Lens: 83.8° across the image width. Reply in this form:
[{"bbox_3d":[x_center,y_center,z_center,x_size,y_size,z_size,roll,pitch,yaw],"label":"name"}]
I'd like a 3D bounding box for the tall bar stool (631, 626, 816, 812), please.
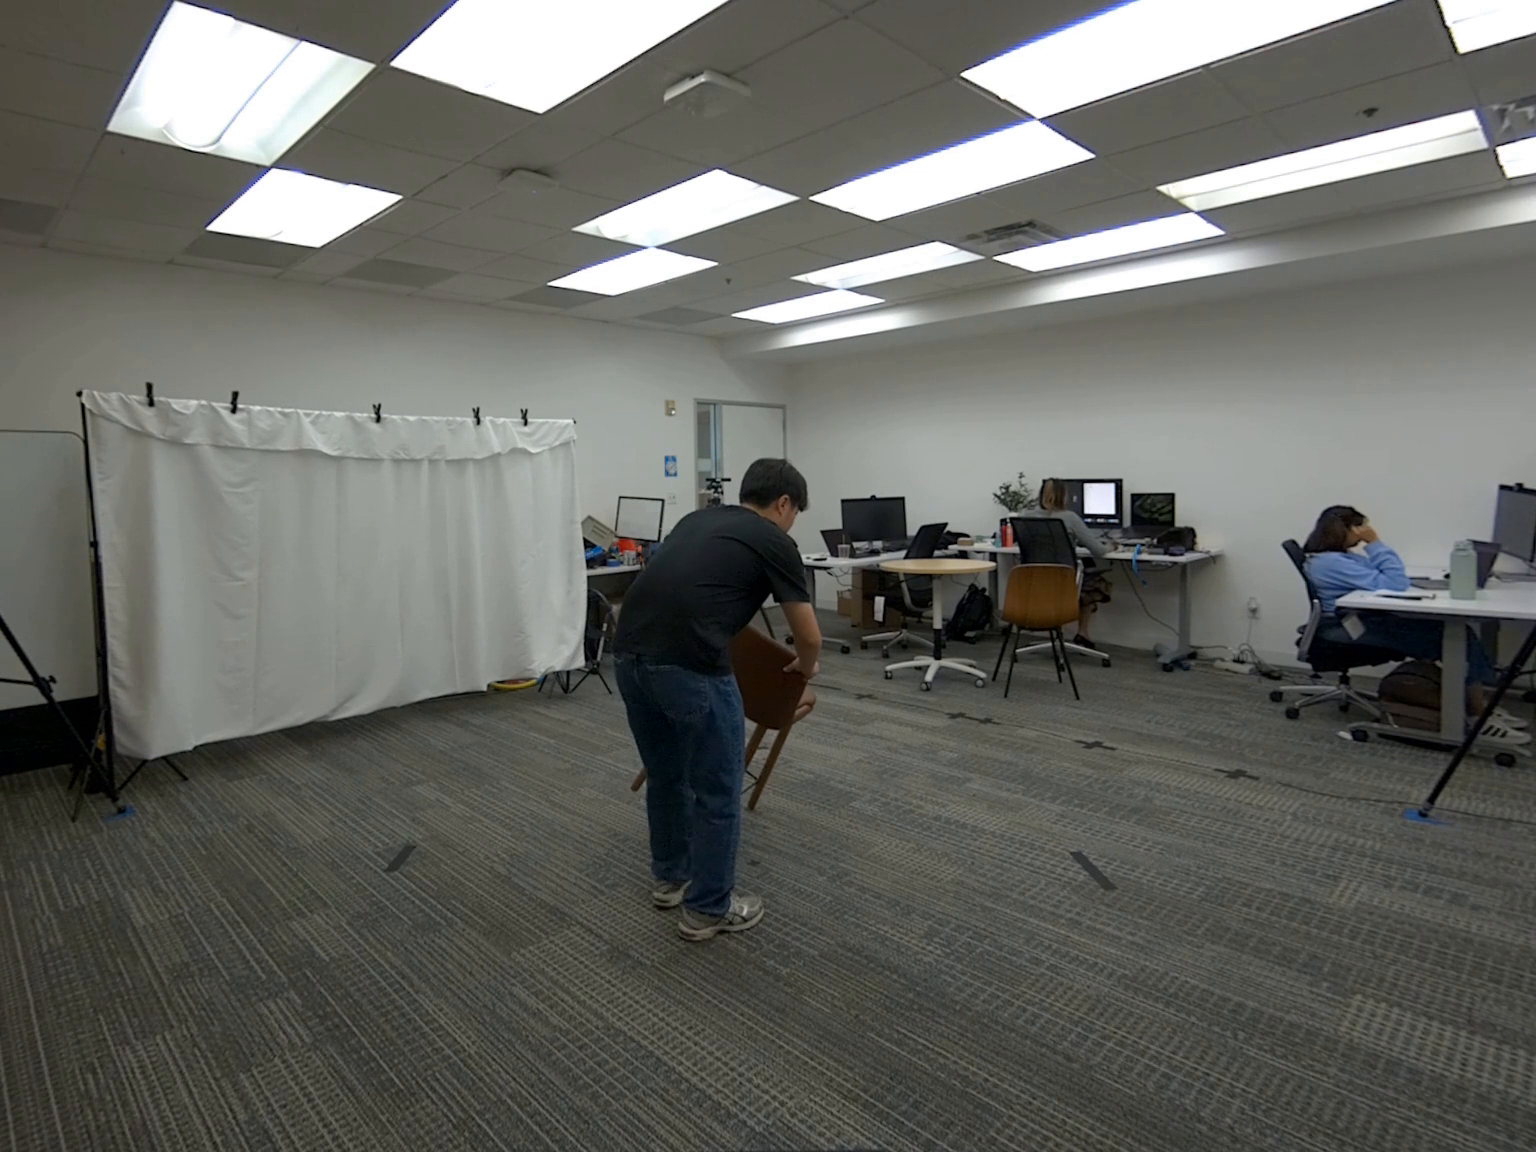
[{"bbox_3d":[-0.113,0.545,3.368,0.468,0.883,0.459,33,20,20],"label":"tall bar stool"}]
